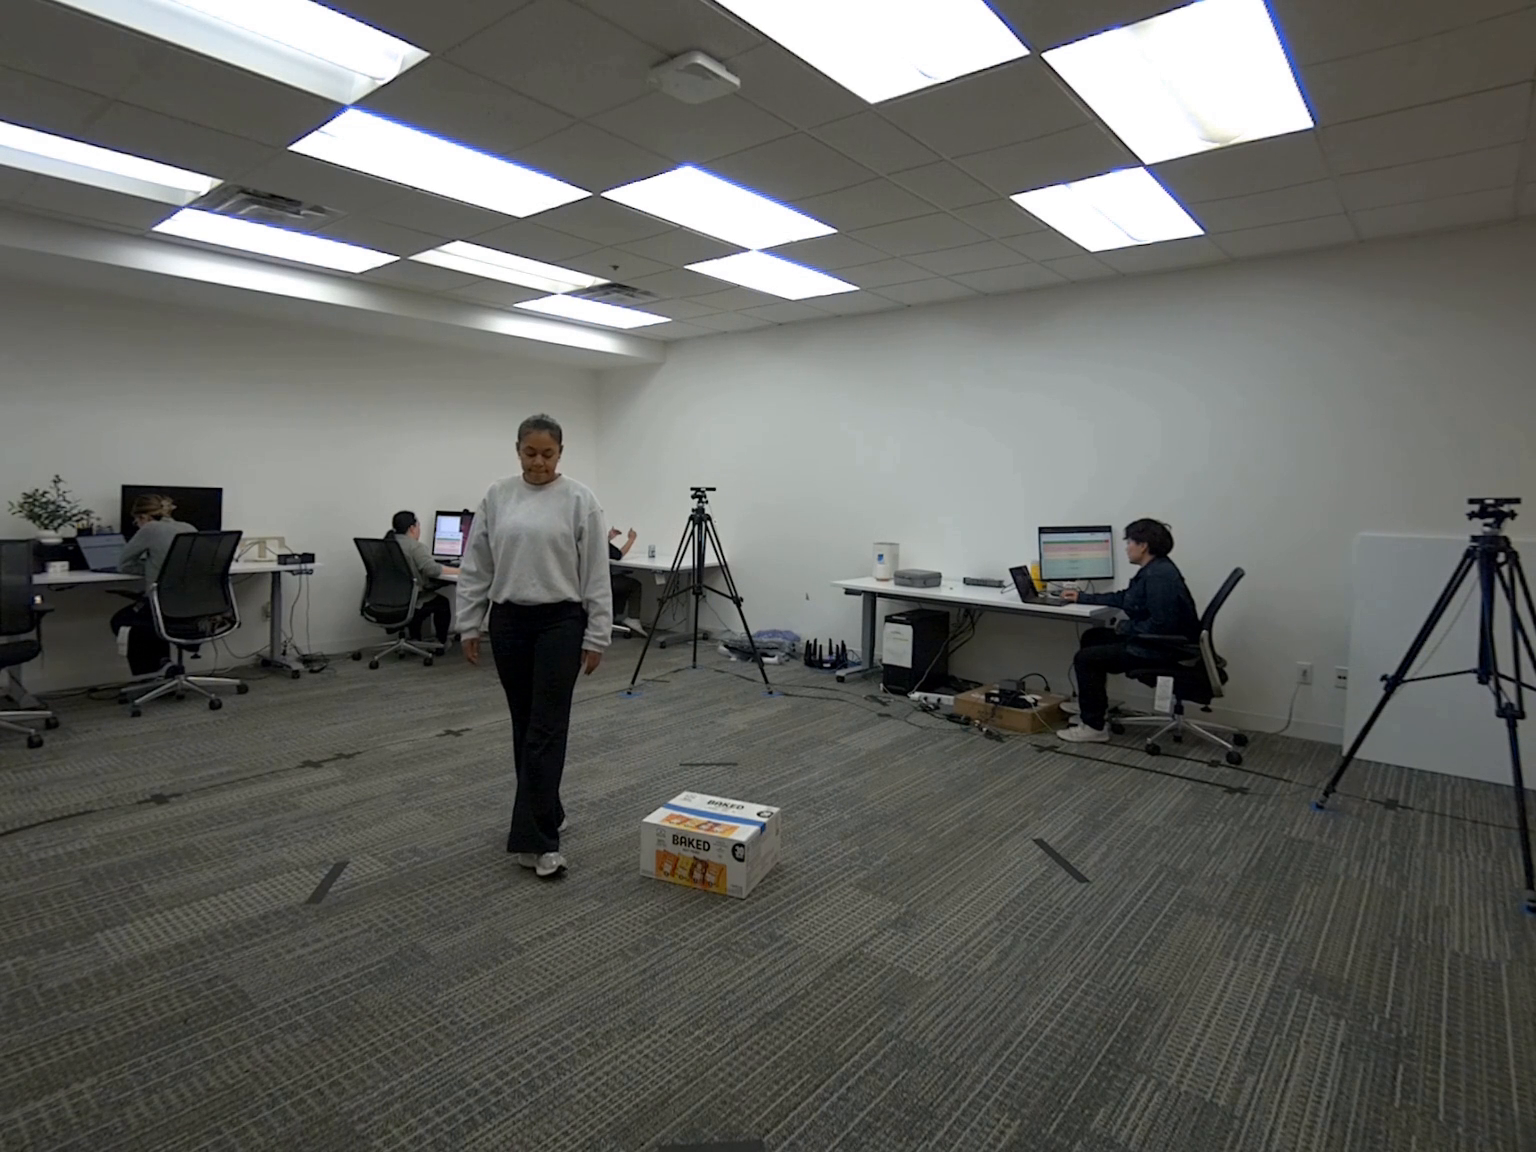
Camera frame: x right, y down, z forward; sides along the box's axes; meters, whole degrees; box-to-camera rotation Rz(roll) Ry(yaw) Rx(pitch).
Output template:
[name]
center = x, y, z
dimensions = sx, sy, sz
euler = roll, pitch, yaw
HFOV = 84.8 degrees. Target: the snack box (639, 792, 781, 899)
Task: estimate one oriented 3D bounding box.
[snack box]
center = -0.215, 0.966, 3.098
dimensions = 0.415, 0.205, 0.333
euler = 3, 6, 23
